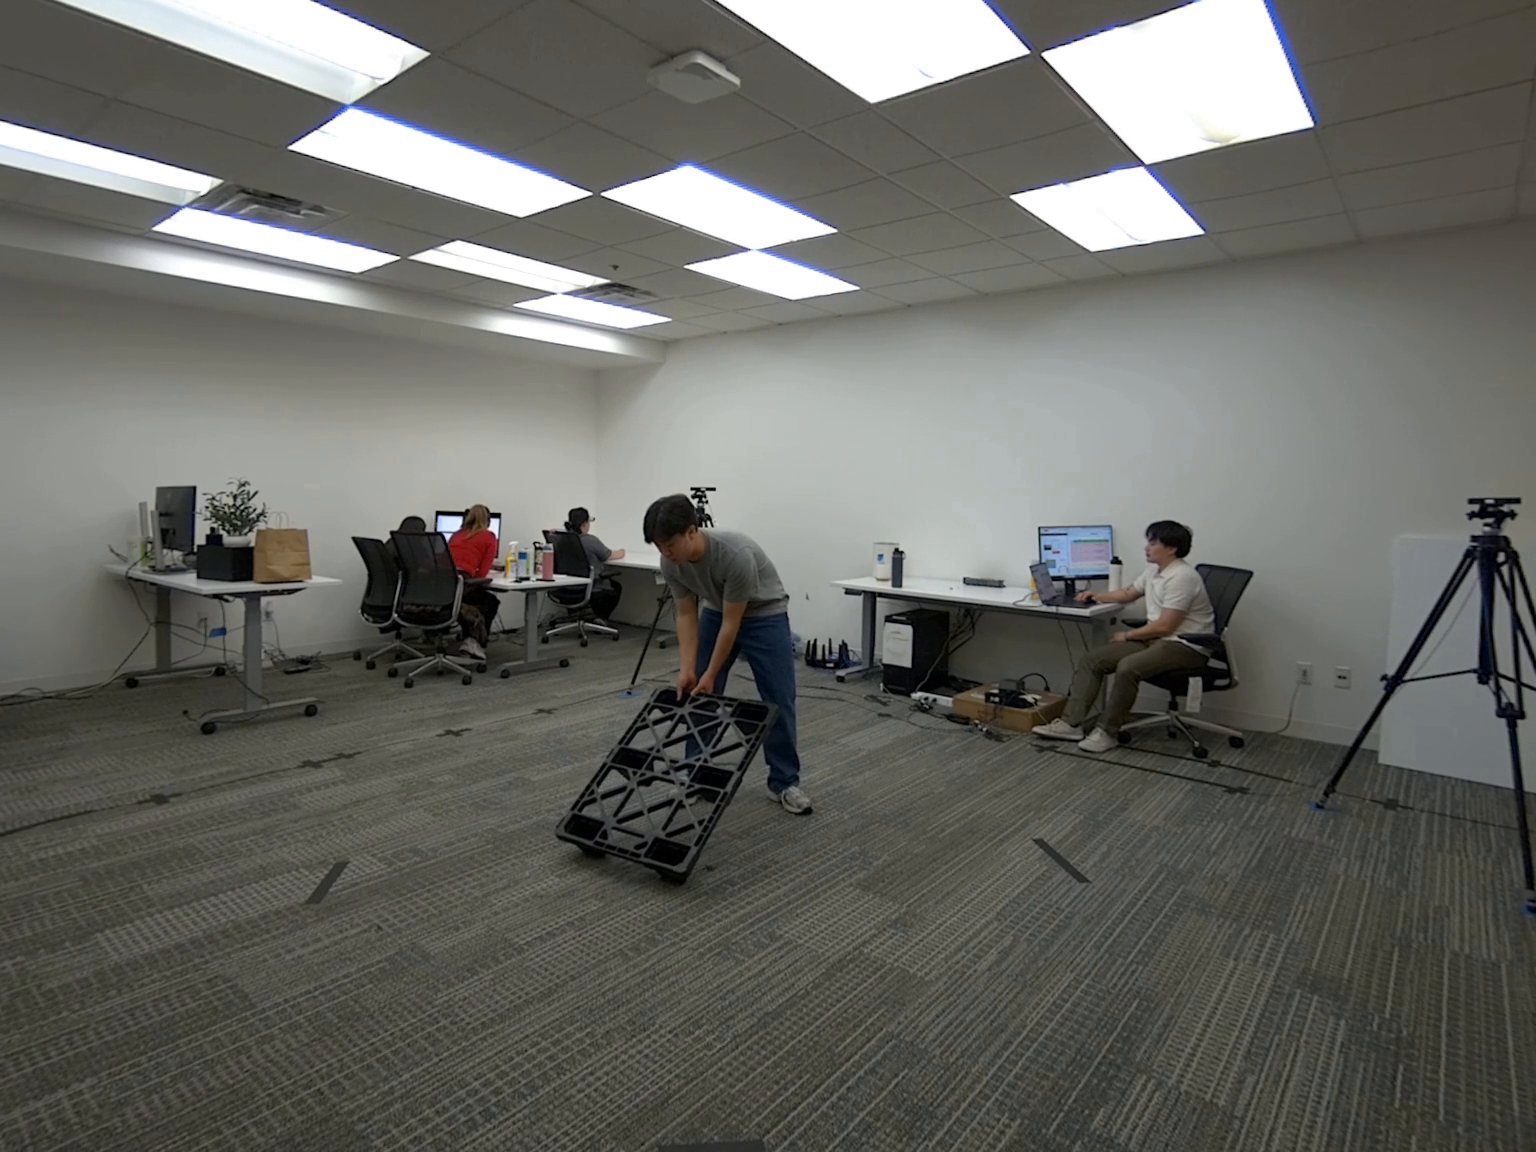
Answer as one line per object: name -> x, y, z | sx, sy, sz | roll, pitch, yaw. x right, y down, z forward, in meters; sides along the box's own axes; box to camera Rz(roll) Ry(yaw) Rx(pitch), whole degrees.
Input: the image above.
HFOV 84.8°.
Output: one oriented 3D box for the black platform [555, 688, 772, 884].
black platform -> -0.369, 0.787, 3.322 | 0.623, 0.138, 0.809 | 5, 40, 29
